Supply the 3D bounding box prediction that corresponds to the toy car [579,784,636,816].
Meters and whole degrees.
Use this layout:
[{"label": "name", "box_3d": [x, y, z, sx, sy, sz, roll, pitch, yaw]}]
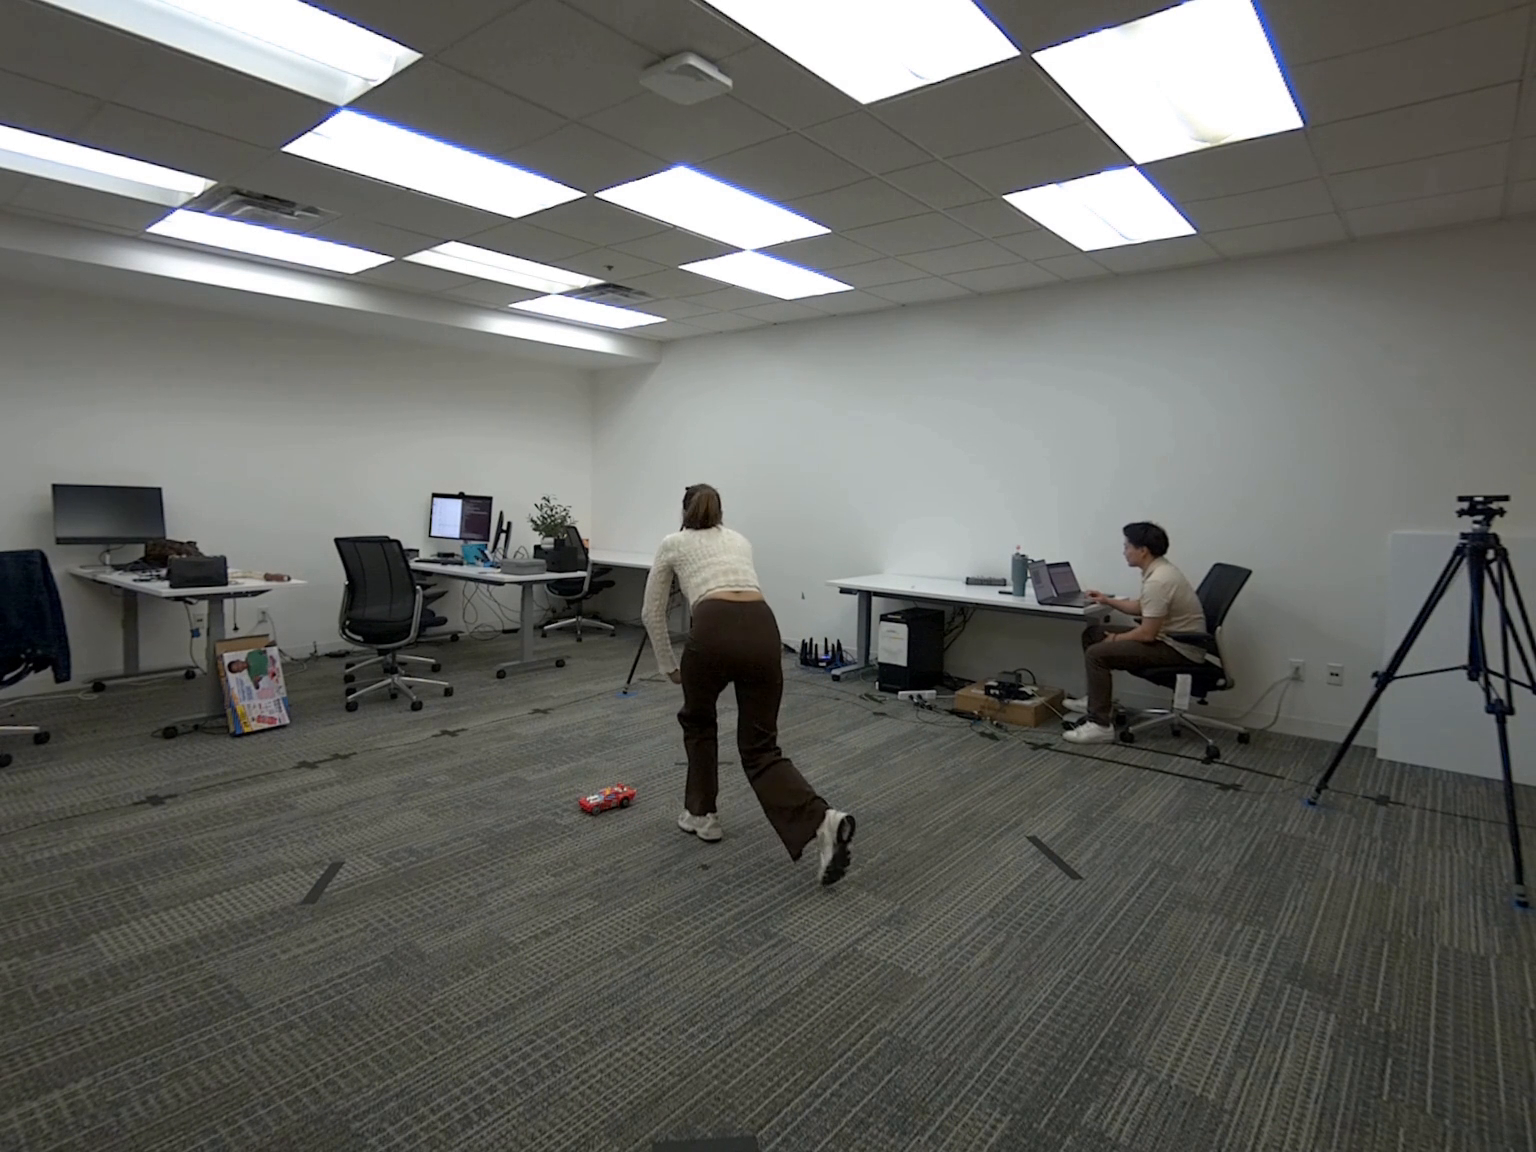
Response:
[{"label": "toy car", "box_3d": [-0.705, 0.967, 3.696, 0.249, 0.082, 0.134, -18, 15, -37]}]
